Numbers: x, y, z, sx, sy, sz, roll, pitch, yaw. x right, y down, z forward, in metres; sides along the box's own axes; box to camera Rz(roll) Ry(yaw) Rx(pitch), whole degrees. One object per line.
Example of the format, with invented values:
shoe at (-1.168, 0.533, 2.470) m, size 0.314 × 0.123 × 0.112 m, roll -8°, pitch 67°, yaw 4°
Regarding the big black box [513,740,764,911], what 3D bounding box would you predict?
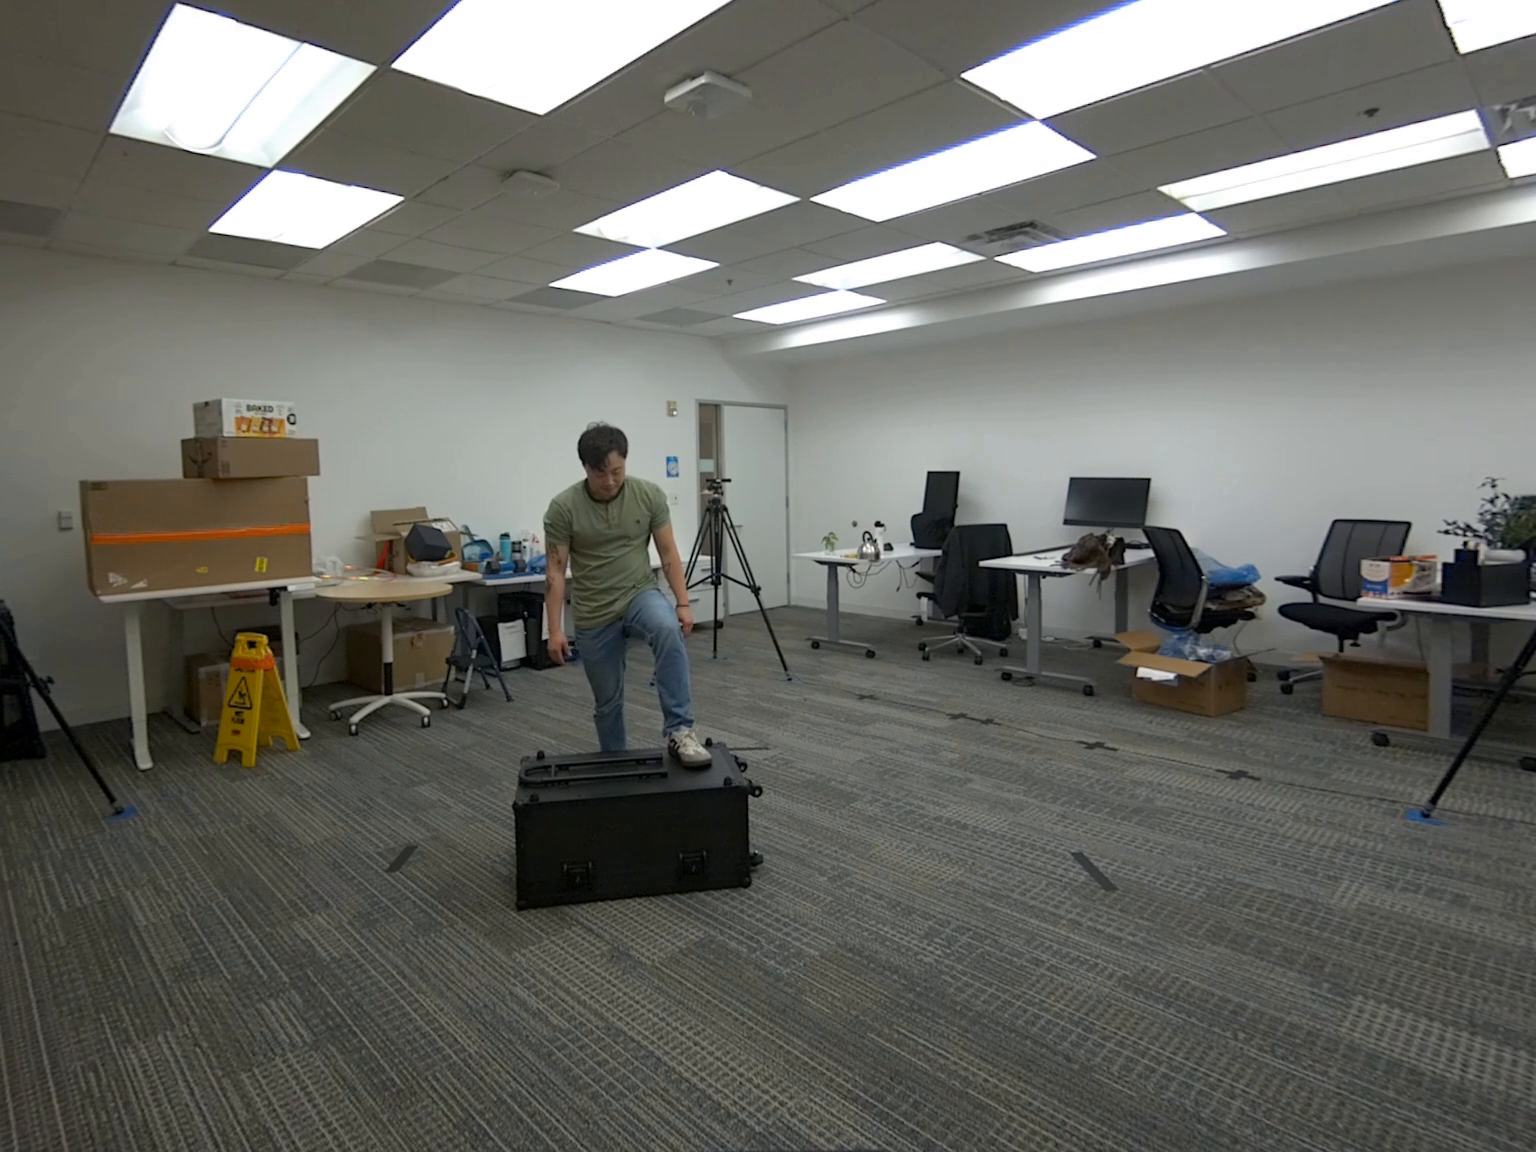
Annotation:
big black box at (-0.463, 0.862, 3.089) m, size 0.852 × 0.395 × 0.529 m, roll -1°, pitch 5°, yaw -11°
